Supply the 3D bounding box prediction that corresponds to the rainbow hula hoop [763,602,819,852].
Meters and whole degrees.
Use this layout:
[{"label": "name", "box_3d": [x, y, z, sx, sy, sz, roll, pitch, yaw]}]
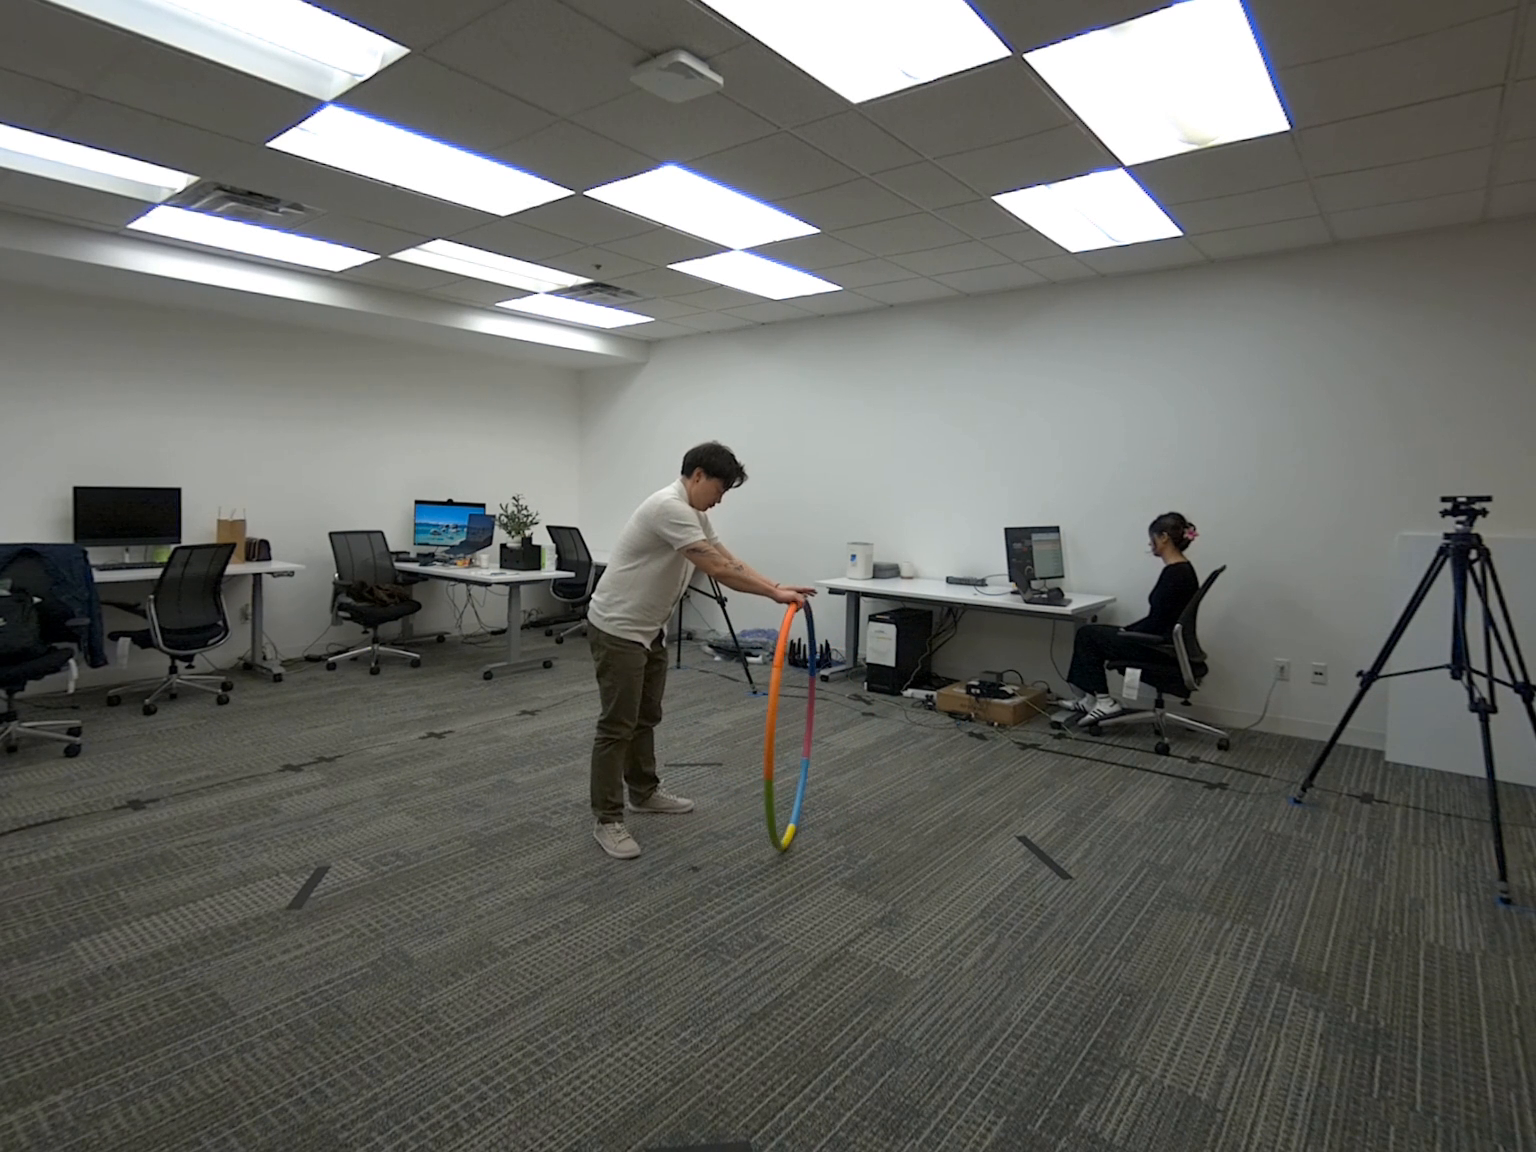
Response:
[{"label": "rainbow hula hoop", "box_3d": [0.086, 0.566, 3.348, 0.036, 0.975, 0.968, 2, 4, 11]}]
